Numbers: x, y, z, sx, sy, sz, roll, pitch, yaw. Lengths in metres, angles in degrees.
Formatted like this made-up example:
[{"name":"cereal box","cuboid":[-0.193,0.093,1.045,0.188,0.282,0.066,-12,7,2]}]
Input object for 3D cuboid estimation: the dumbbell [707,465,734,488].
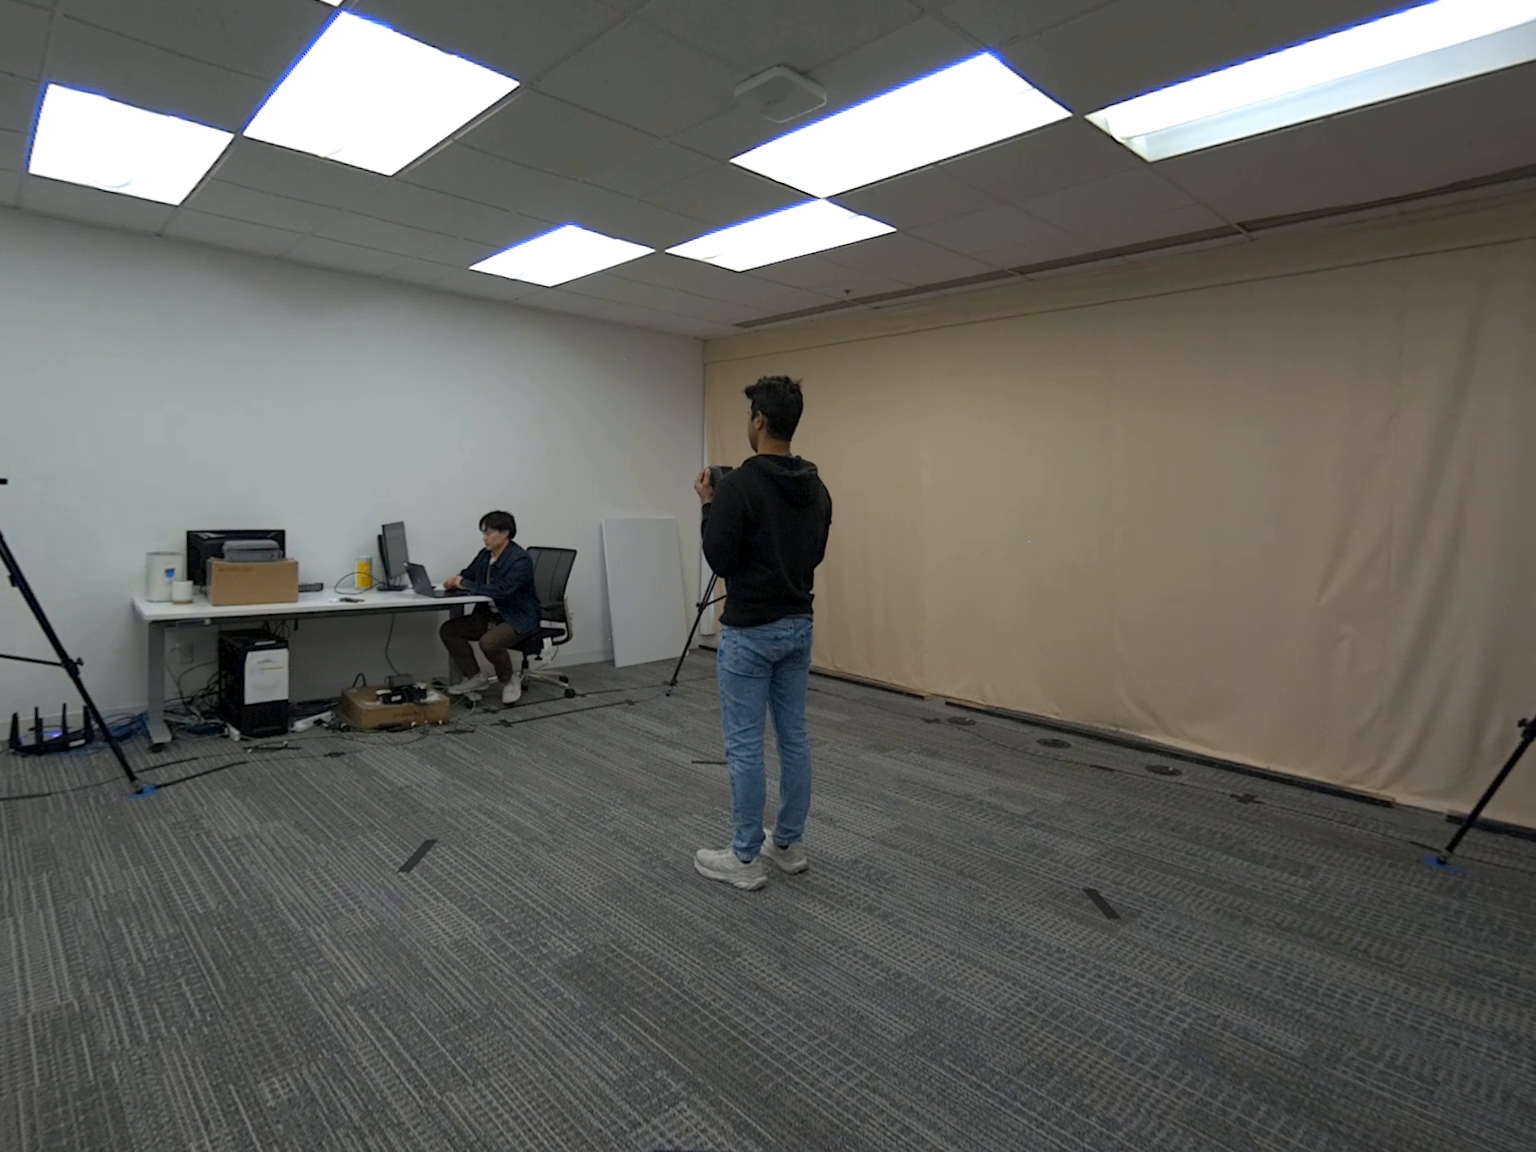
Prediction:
[{"name":"dumbbell","cuboid":[-0.097,-0.348,3.174,0.287,0.108,0.126,-4,9,-42]}]
